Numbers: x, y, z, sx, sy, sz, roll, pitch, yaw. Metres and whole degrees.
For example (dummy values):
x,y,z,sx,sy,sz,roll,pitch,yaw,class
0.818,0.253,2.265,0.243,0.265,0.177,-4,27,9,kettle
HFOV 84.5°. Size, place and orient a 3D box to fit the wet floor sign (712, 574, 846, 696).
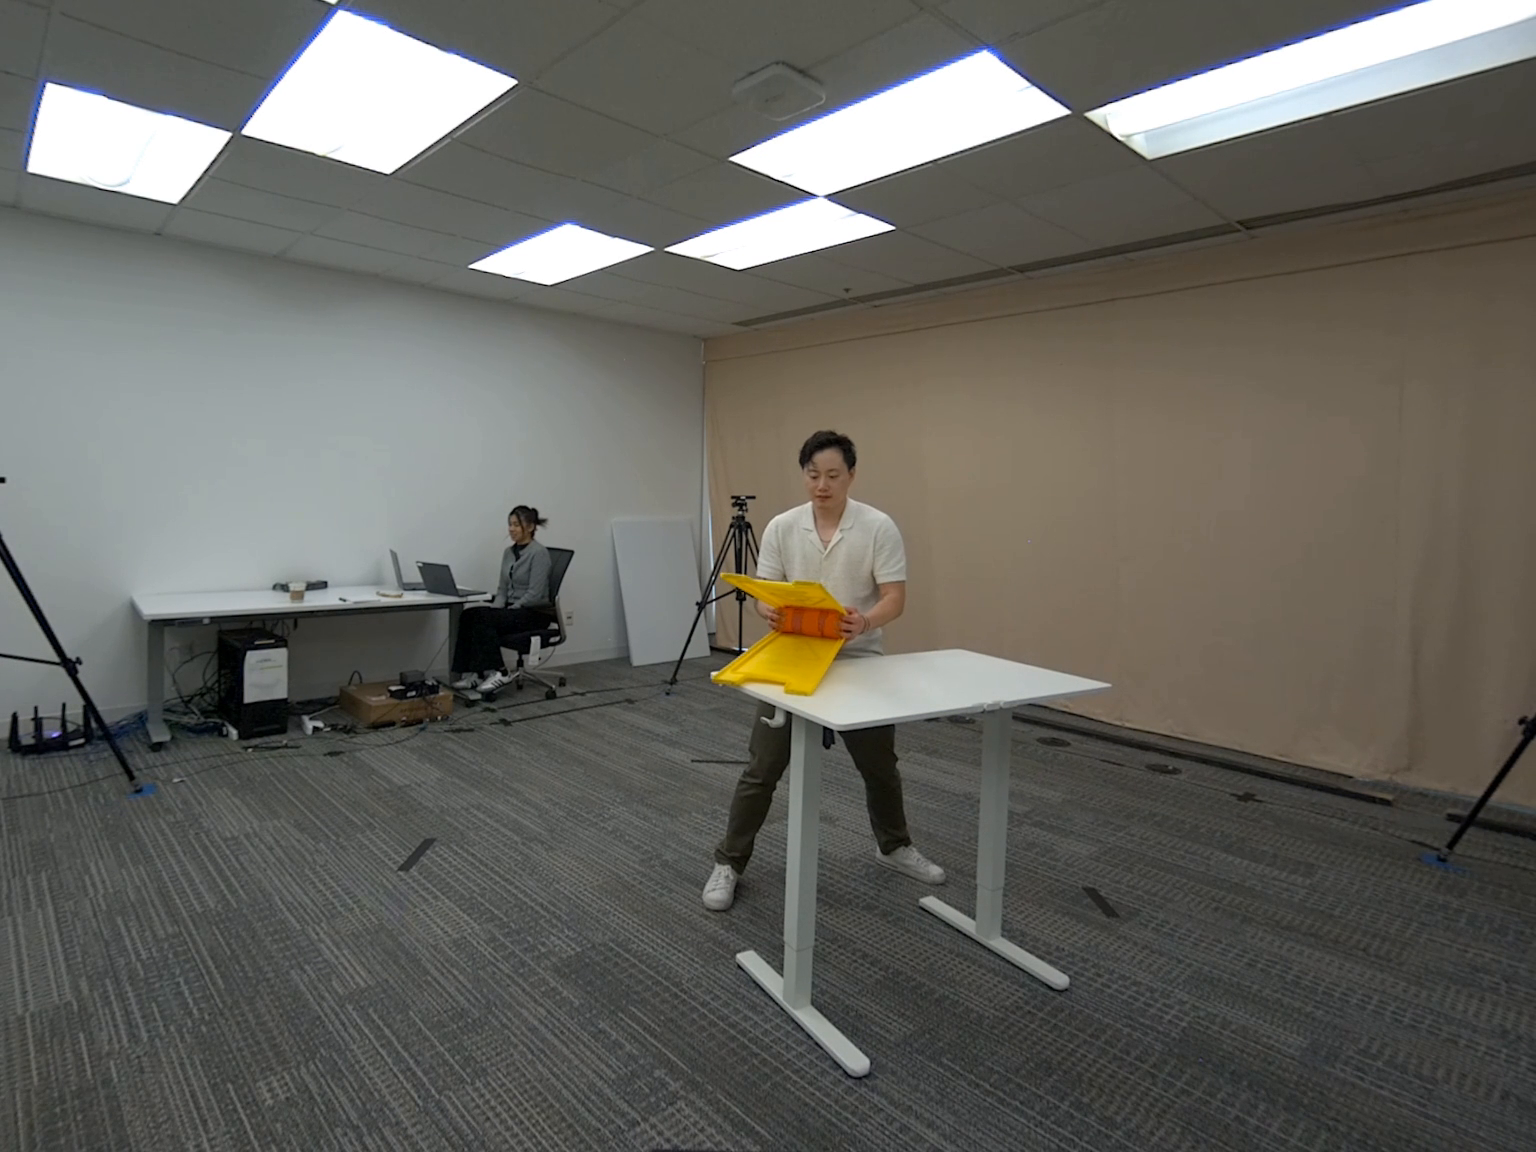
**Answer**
x,y,z,sx,sy,sz,roll,pitch,yaw,class
0.086,0.148,2.509,0.286,0.289,0.637,5,2,17,wet floor sign
